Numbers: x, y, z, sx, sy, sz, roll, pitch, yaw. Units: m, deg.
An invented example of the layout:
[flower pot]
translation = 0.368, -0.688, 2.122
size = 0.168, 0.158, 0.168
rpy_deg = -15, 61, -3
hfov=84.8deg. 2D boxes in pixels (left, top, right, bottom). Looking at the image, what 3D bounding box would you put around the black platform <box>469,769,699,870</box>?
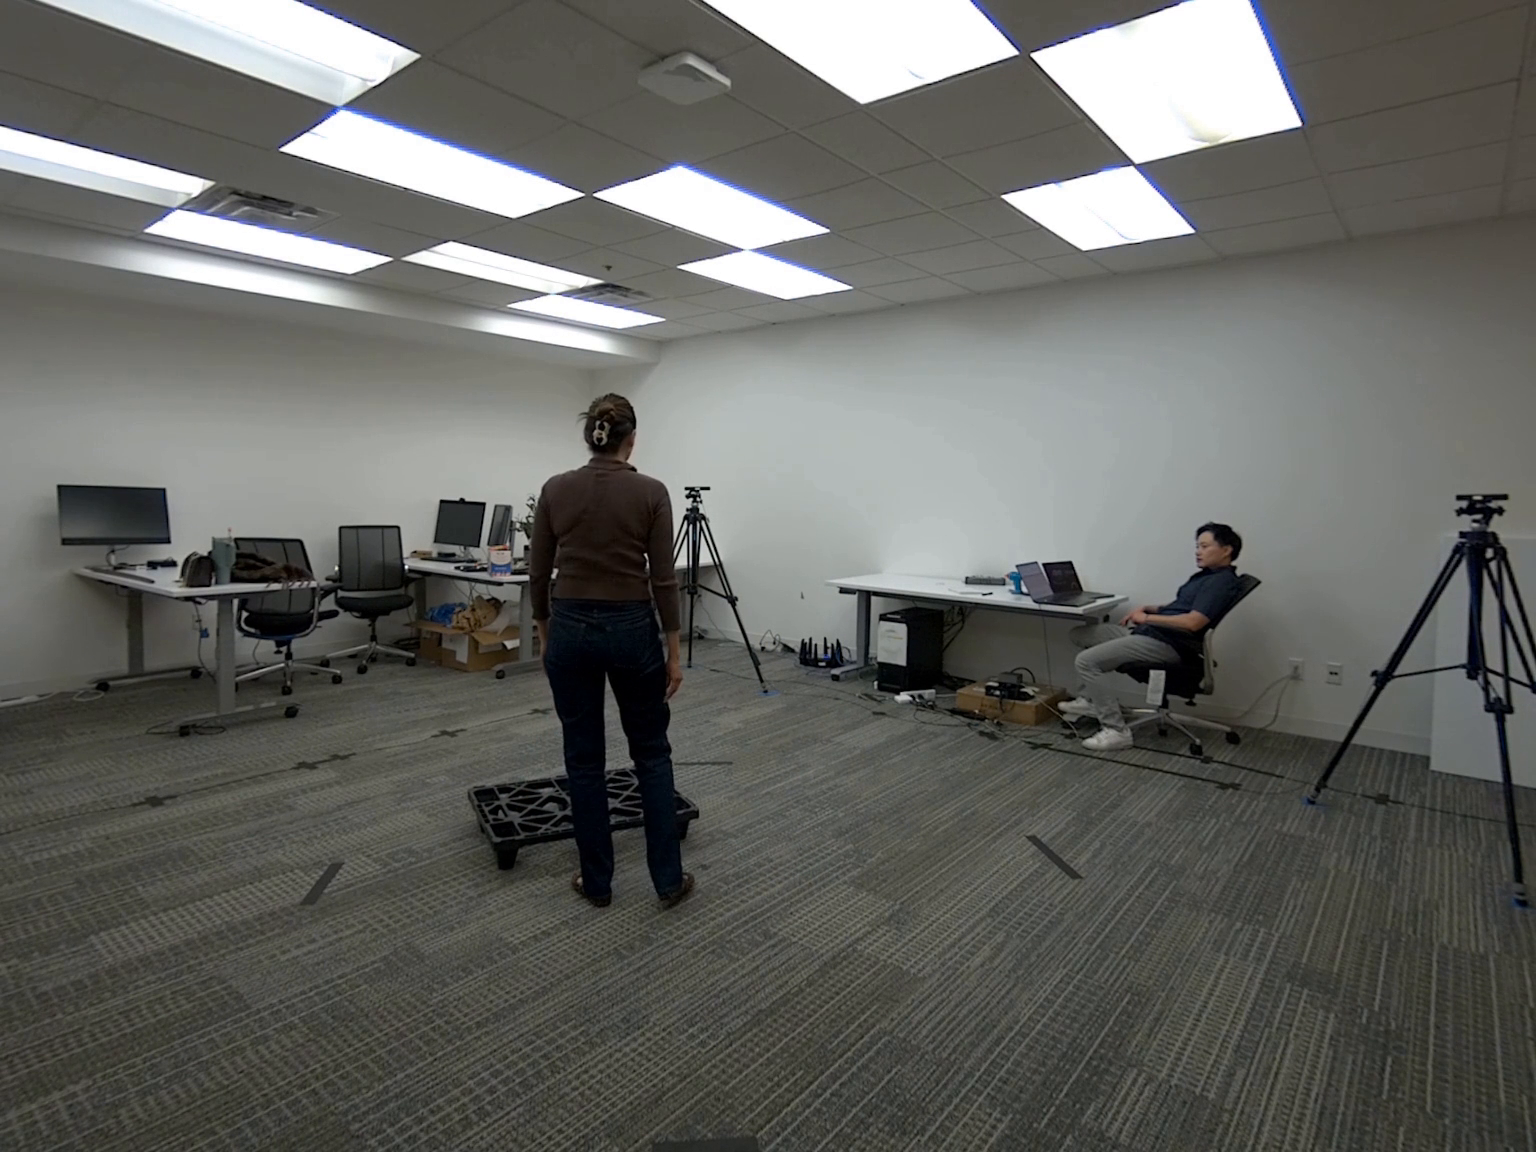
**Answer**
[black platform]
translation = -0.772, 0.958, 3.428
size = 0.786, 0.143, 0.622
rpy_deg = -2, 5, -26
